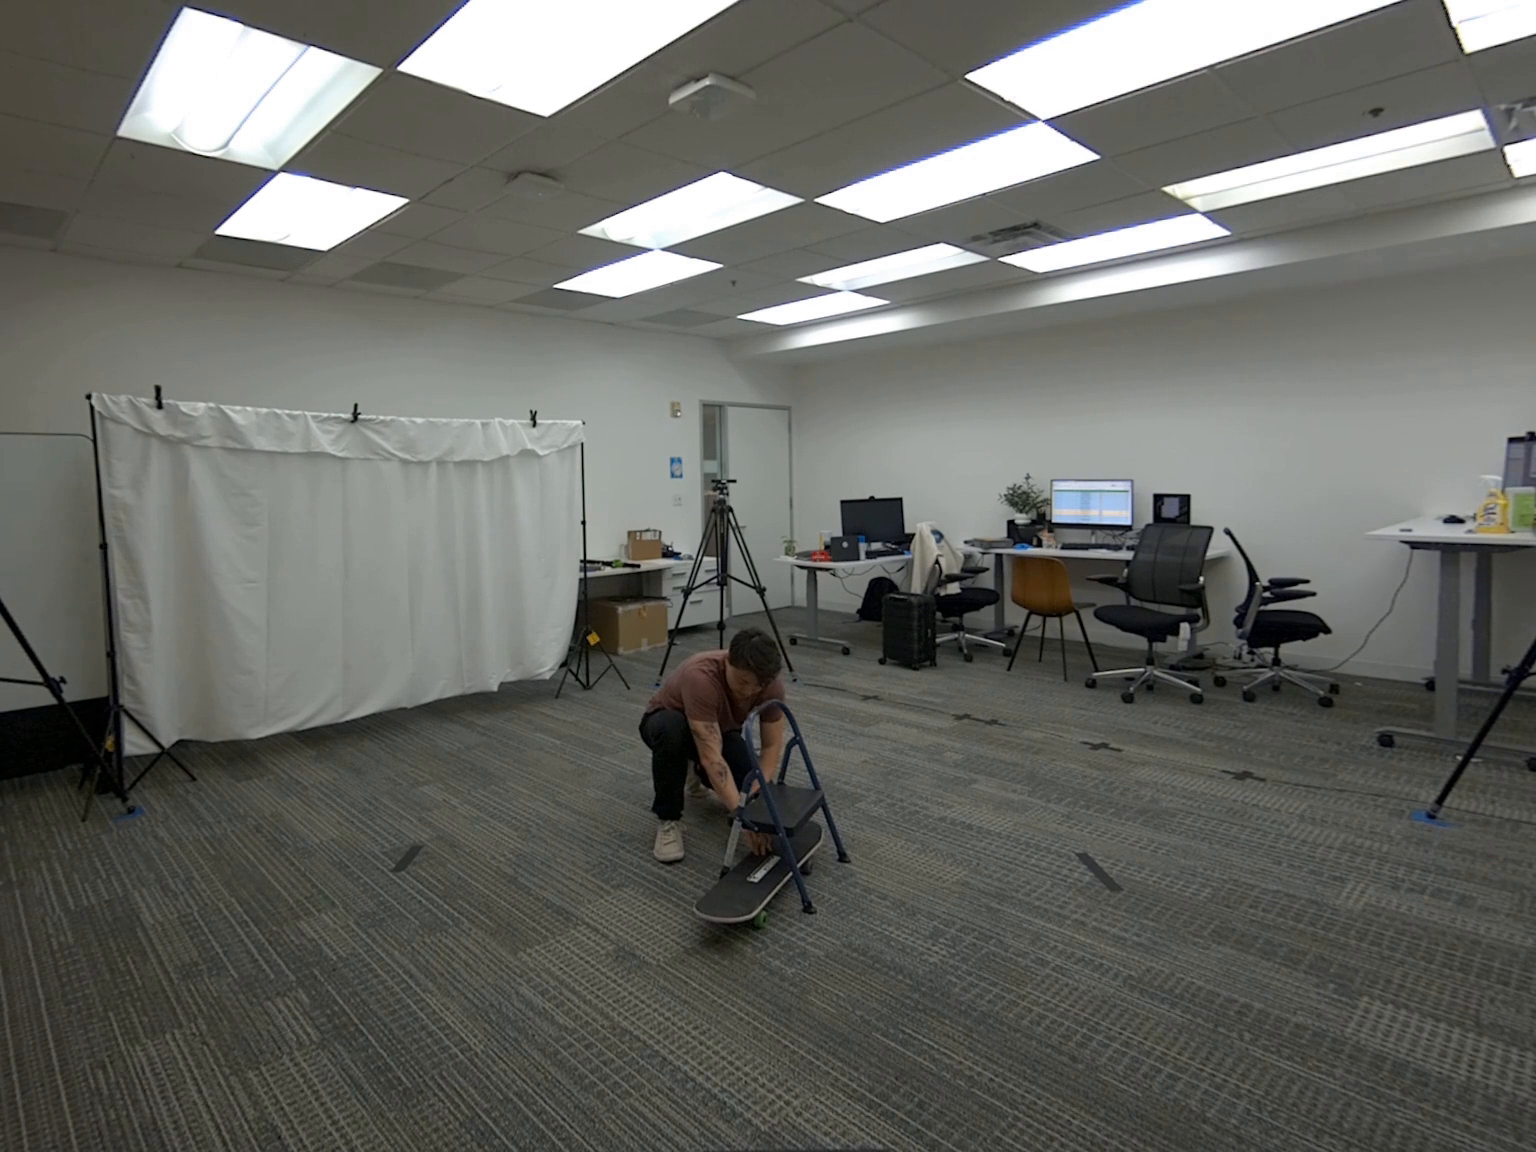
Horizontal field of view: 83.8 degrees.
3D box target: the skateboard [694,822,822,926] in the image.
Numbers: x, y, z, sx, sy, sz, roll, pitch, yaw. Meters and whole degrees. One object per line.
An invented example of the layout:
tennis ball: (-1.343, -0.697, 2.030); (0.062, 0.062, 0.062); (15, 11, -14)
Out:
skateboard: (-0.018, 1.015, 2.881); (0.198, 0.110, 0.772); (1, 7, 23)
